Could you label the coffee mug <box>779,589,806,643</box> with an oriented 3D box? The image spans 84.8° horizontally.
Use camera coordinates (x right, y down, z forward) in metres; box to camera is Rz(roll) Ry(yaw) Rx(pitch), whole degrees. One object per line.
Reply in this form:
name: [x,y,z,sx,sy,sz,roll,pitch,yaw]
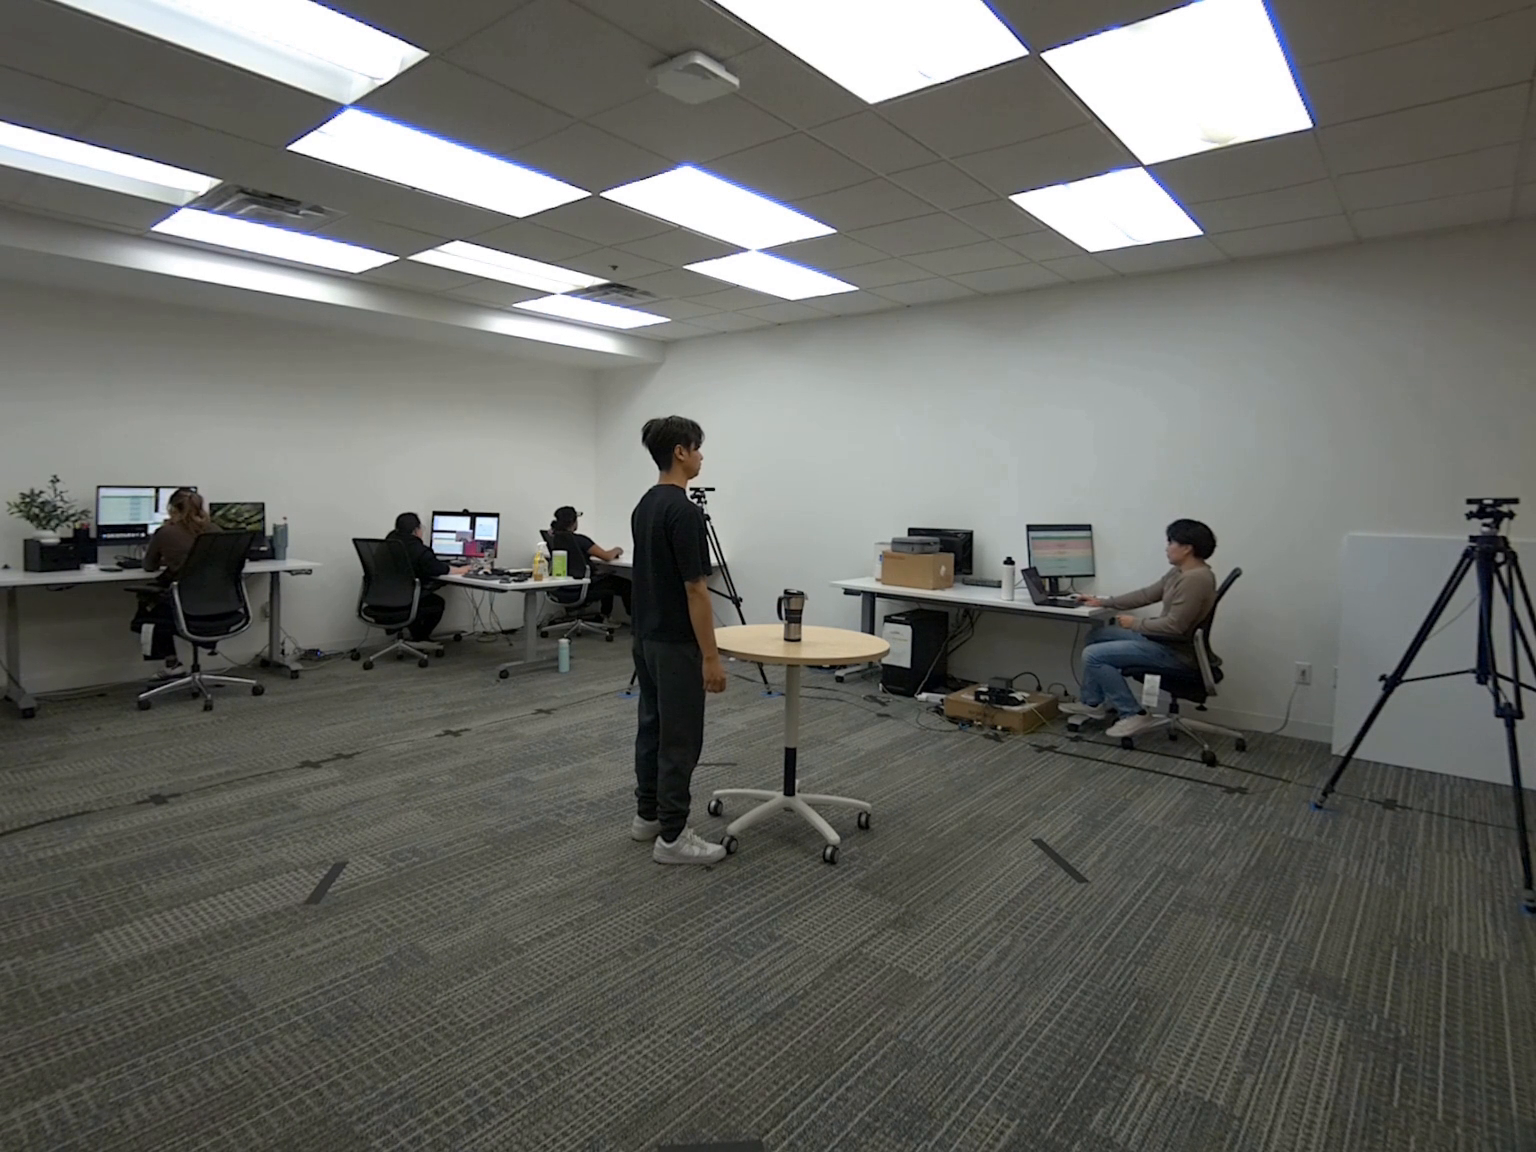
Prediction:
coffee mug: [0.077,0.157,3.434,0.126,0.201,0.086,9,13,34]
